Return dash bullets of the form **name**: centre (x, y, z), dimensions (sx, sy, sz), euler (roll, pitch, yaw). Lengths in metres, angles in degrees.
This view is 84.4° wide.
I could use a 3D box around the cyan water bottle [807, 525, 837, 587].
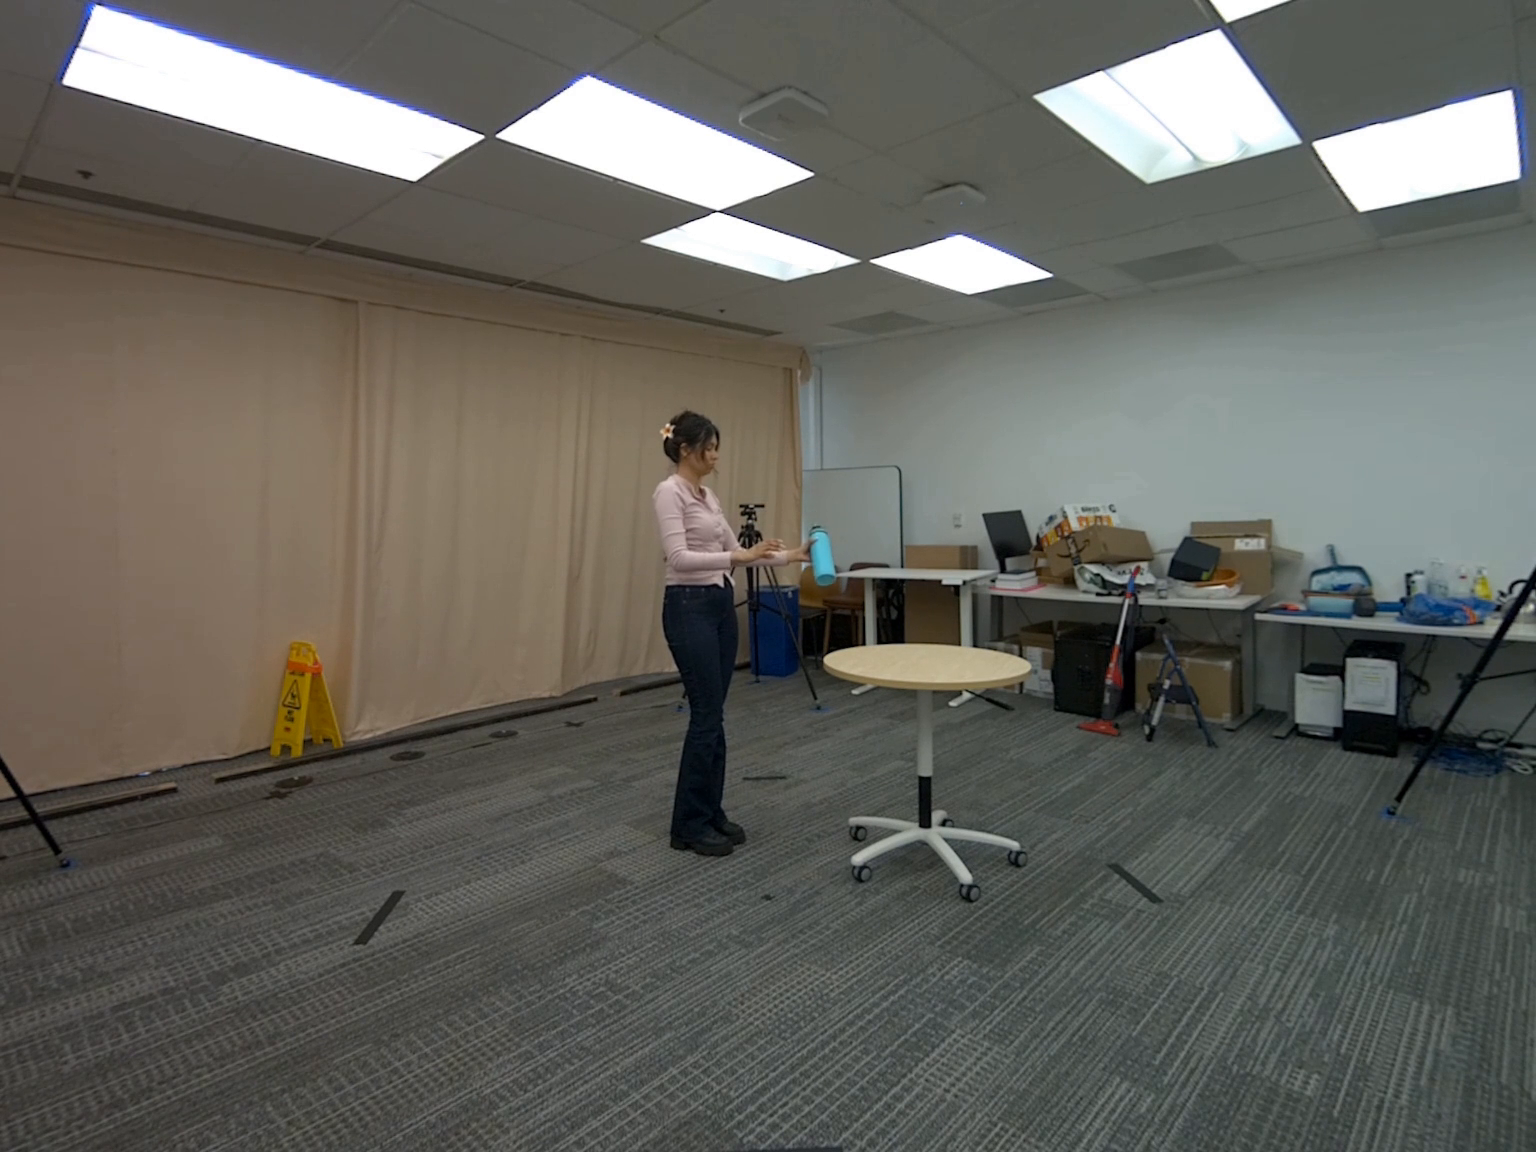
- **cyan water bottle**: centre (0.231, -0.096, 3.591), dimensions (0.092, 0.289, 0.091), euler (-3, -38, -4)
